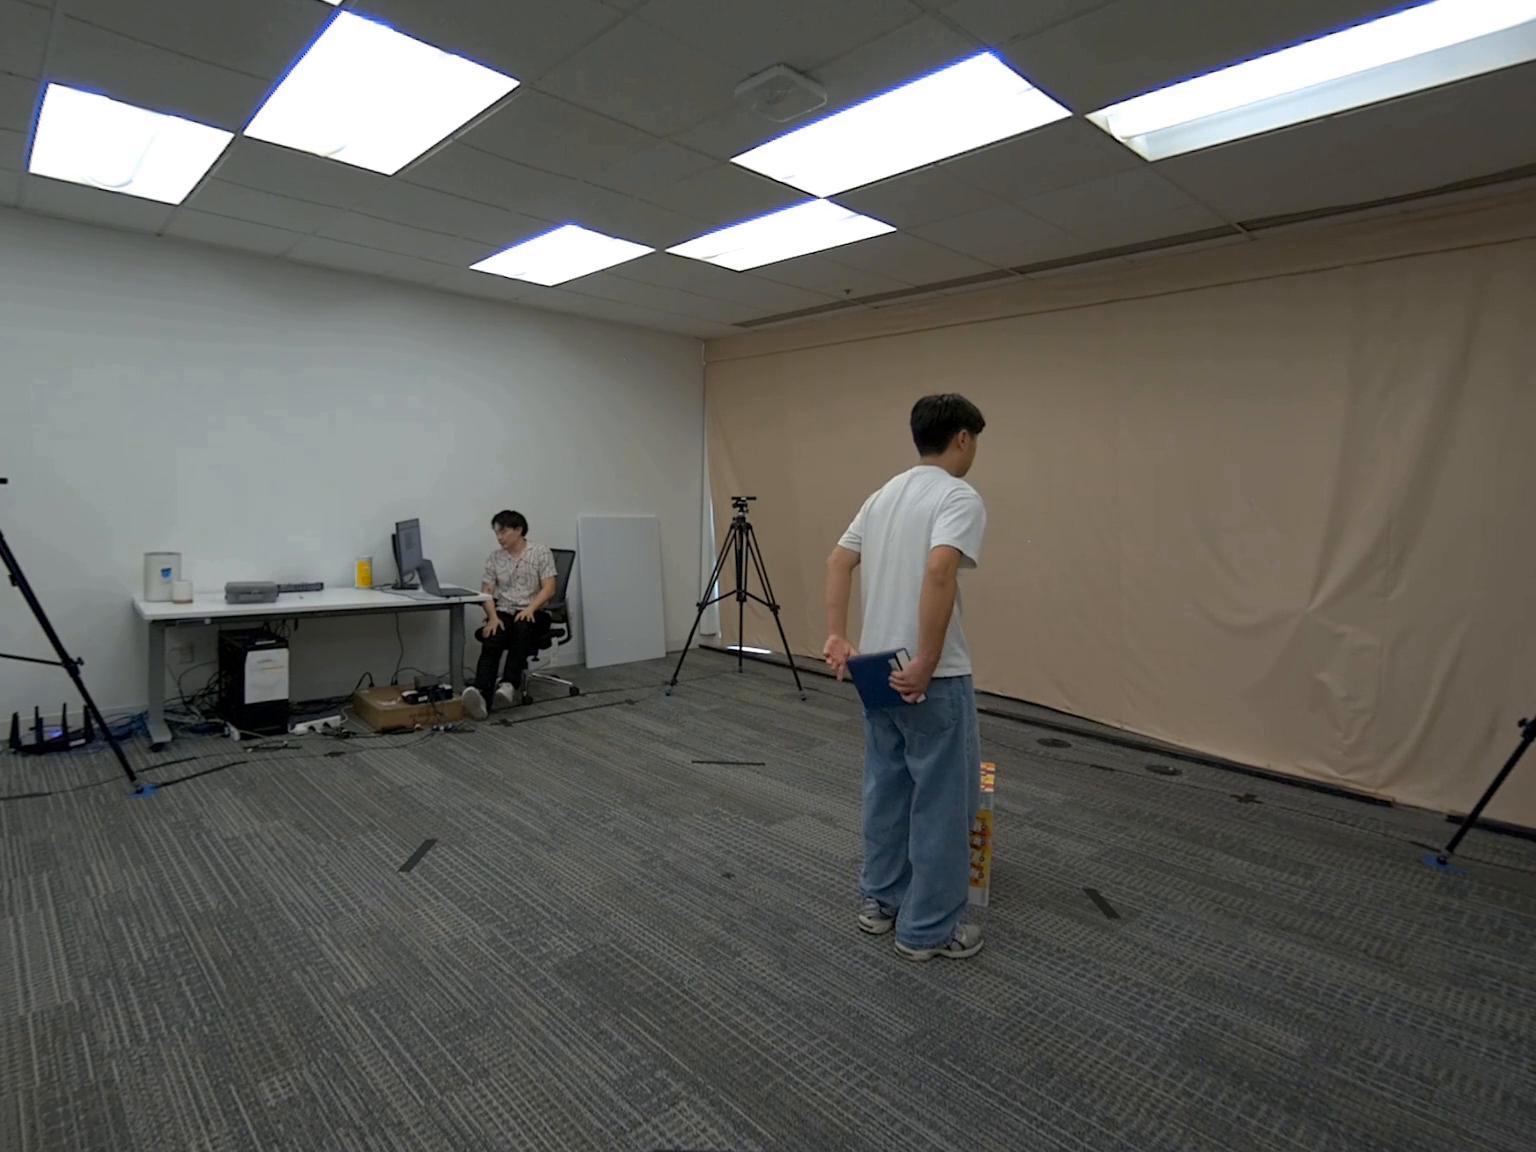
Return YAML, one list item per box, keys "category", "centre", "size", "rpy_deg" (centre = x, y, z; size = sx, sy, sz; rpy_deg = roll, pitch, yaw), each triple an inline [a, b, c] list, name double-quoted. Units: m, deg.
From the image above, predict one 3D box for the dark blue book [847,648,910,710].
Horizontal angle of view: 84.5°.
- category: "dark blue book"
  centre: [0.353, 0.305, 2.486]
  size: [0.045, 0.163, 0.248]
  rpy_deg: [-27, 1, -34]
